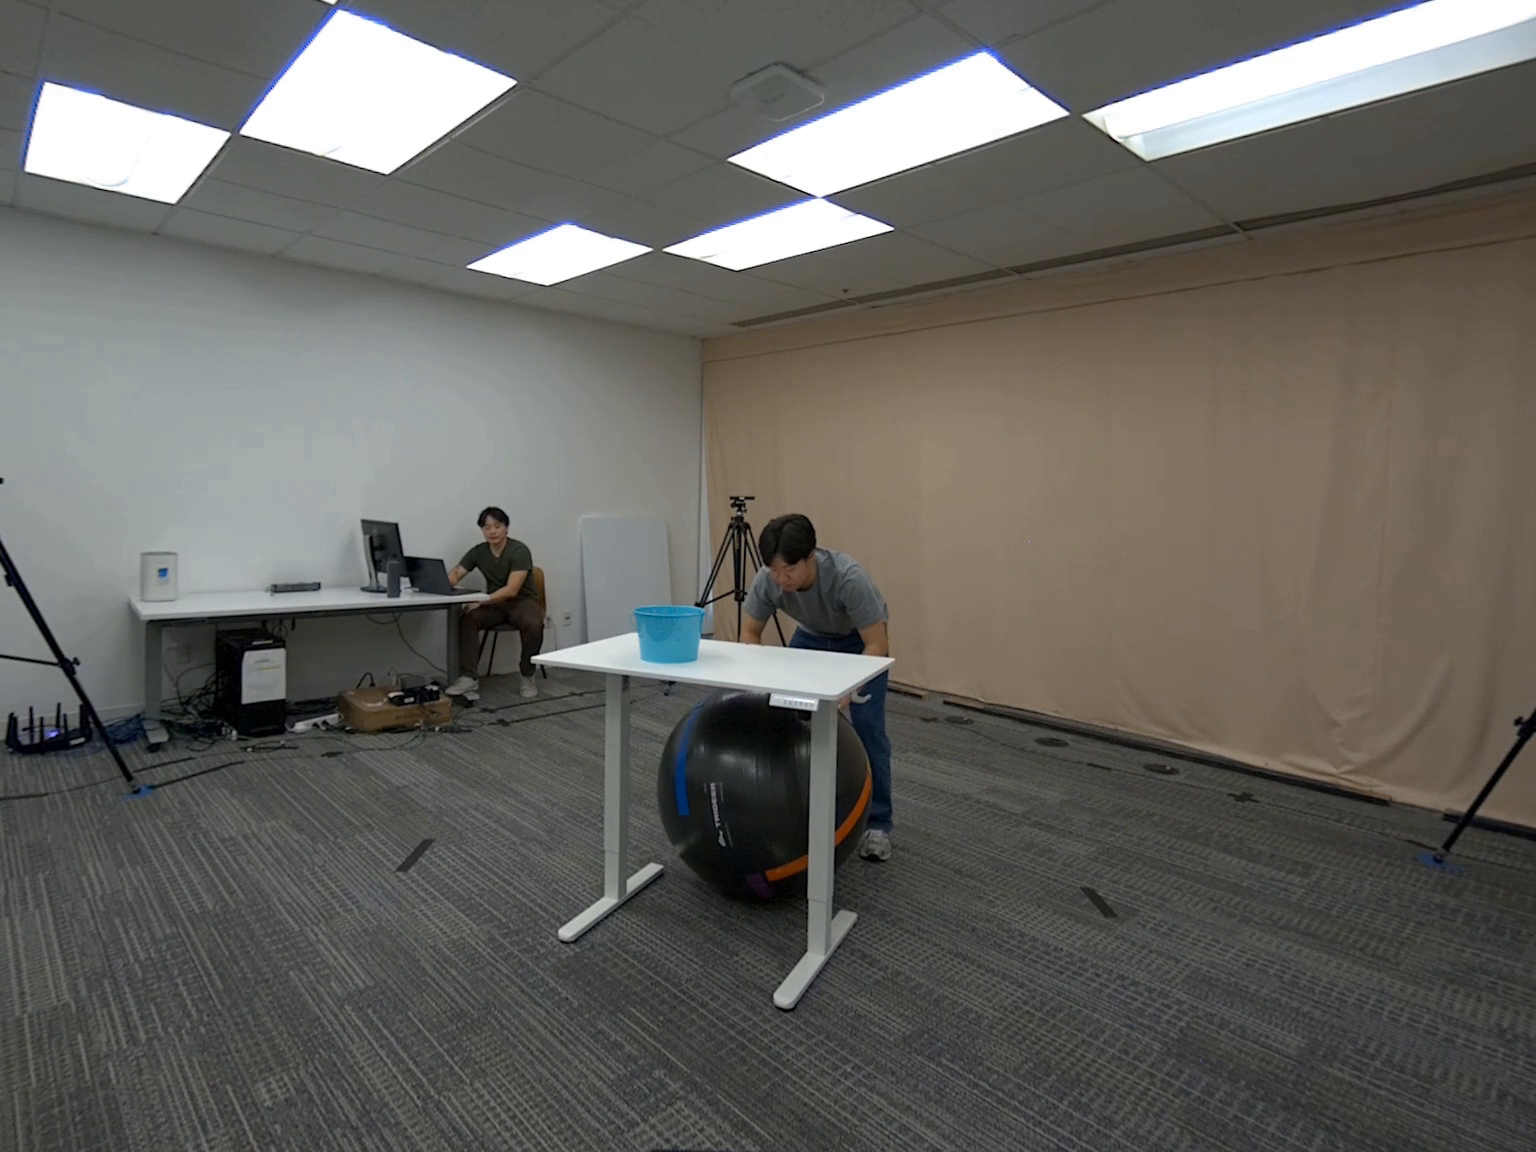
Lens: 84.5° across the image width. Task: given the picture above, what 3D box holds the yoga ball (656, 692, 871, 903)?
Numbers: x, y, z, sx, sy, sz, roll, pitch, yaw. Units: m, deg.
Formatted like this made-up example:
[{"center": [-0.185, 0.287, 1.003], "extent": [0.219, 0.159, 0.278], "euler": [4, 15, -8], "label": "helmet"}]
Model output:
[{"center": [-0.019, 0.747, 3.000], "extent": [0.757, 0.756, 0.761], "euler": [1, 4, -1], "label": "yoga ball"}]
